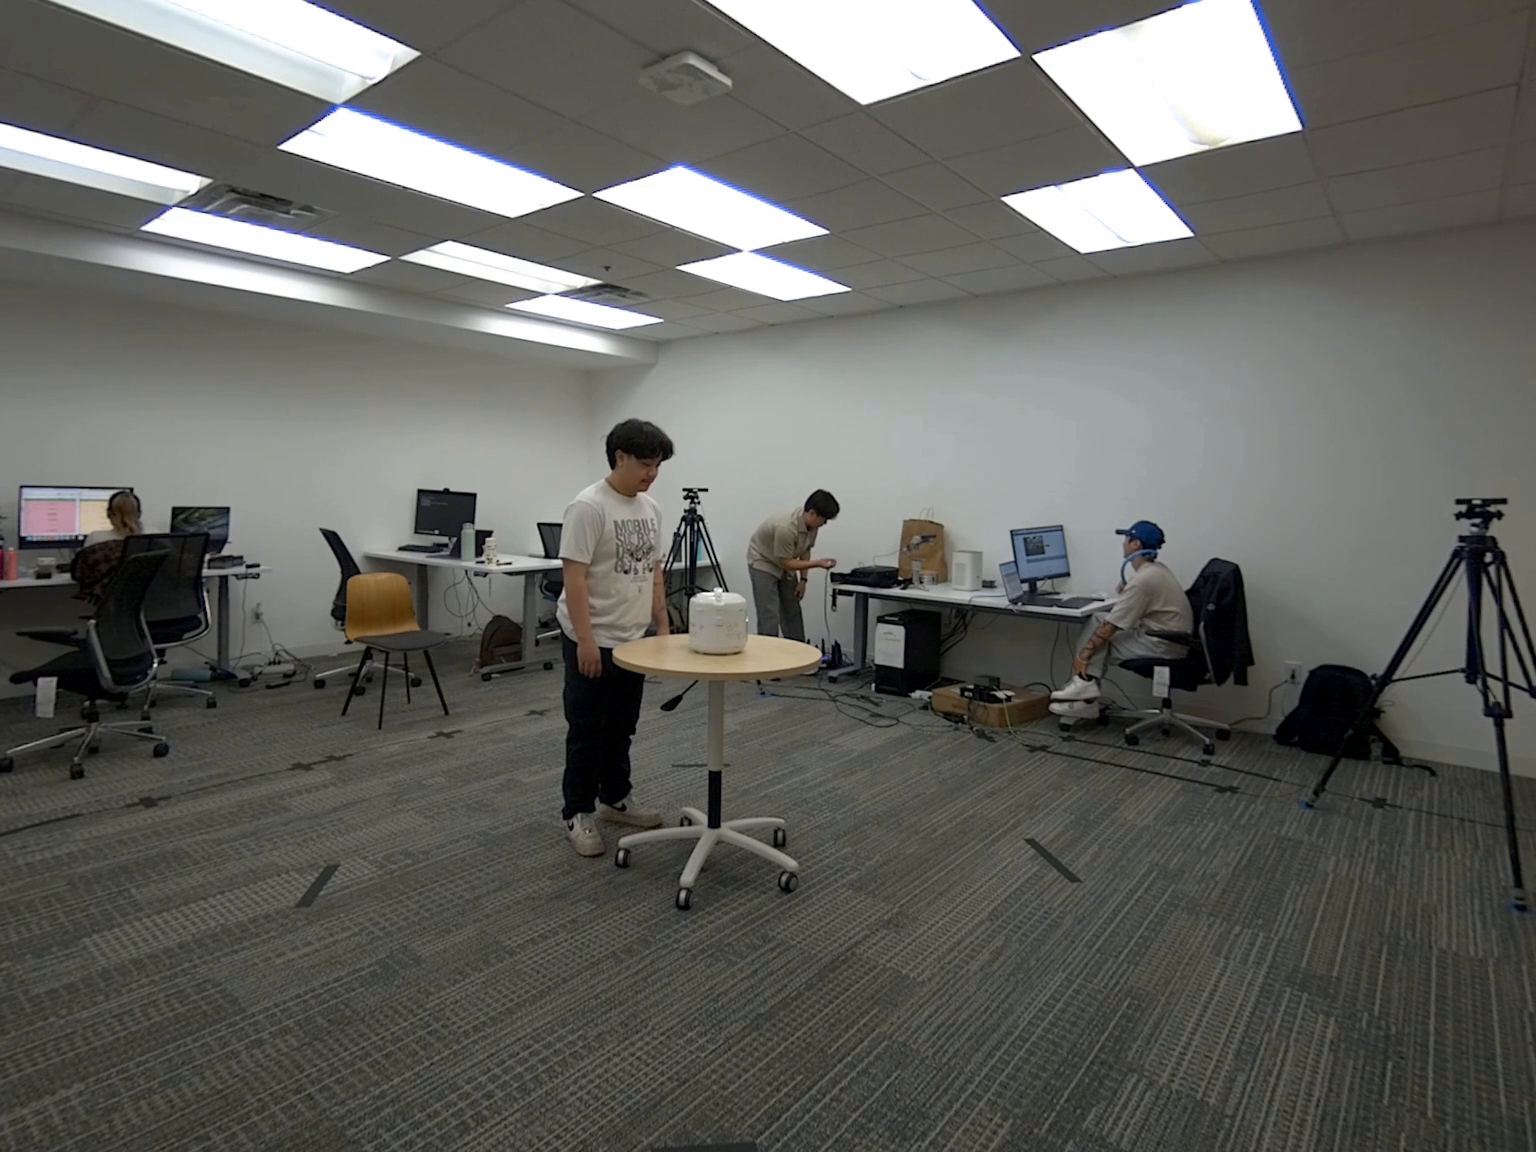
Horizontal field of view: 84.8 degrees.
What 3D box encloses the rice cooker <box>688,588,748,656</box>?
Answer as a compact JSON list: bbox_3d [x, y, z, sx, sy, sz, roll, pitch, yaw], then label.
[{"bbox_3d":[-0.189,0.154,3.116,0.217,0.232,0.222,1,5,-2],"label":"rice cooker"}]
